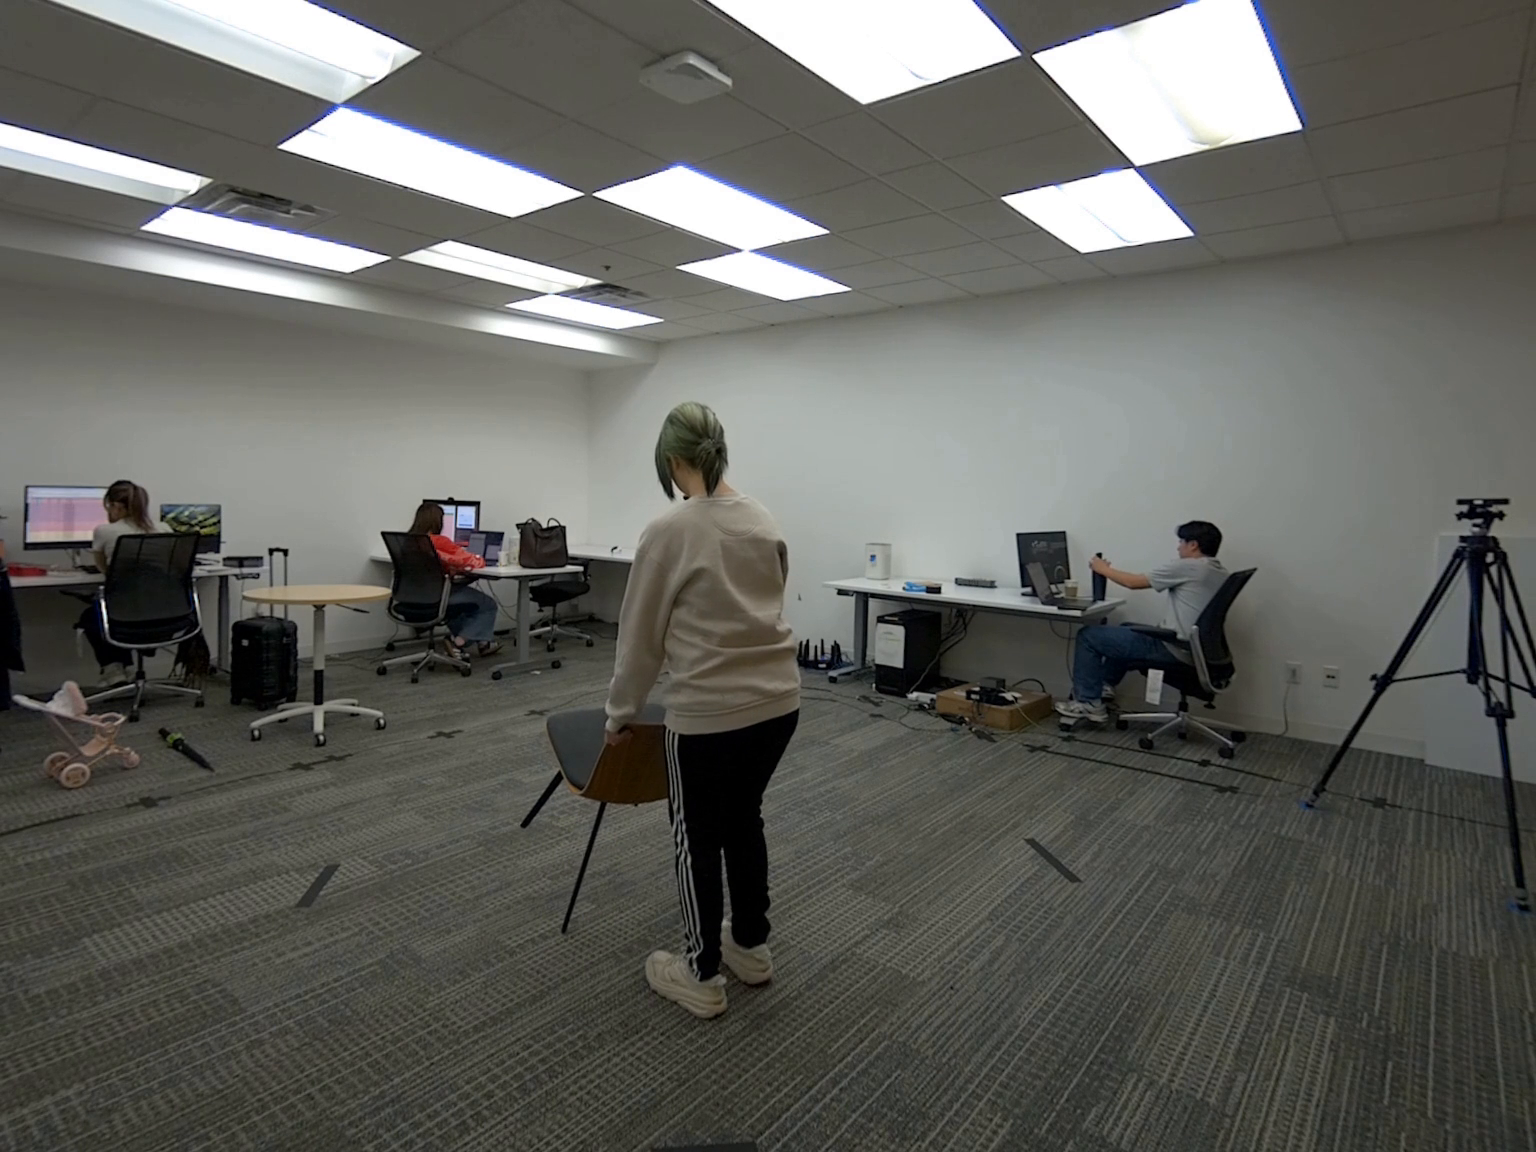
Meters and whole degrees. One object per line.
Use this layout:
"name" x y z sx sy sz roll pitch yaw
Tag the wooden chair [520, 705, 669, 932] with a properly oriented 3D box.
"wooden chair" -0.466 0.611 2.751 0.465 0.865 0.546 -1 35 -33
